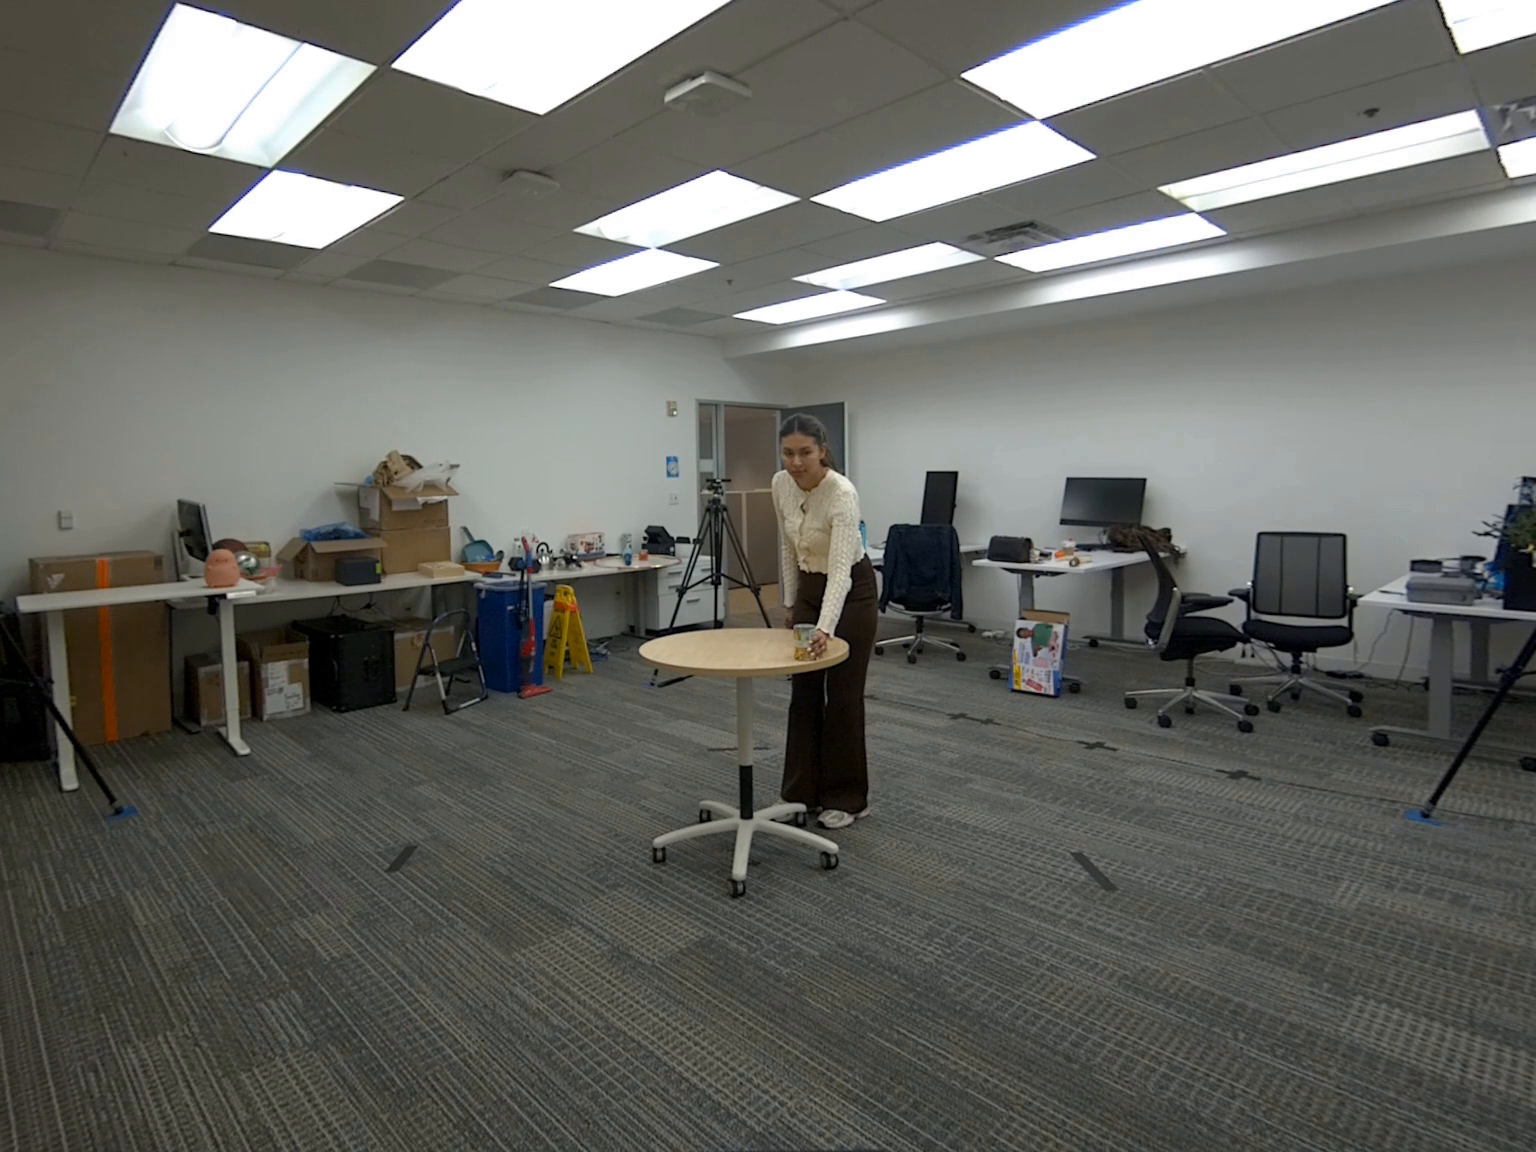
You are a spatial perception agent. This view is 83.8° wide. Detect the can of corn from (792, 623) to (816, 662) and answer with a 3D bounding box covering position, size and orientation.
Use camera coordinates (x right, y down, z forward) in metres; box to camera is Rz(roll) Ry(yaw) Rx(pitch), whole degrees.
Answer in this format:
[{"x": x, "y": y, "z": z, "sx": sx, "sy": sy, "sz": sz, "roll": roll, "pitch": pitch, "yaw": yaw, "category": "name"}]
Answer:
[{"x": 0.134, "y": 0.227, "z": 2.875, "sx": 0.074, "sy": 0.110, "sz": 0.074, "roll": -1, "pitch": 5, "yaw": -2, "category": "can of corn"}]
